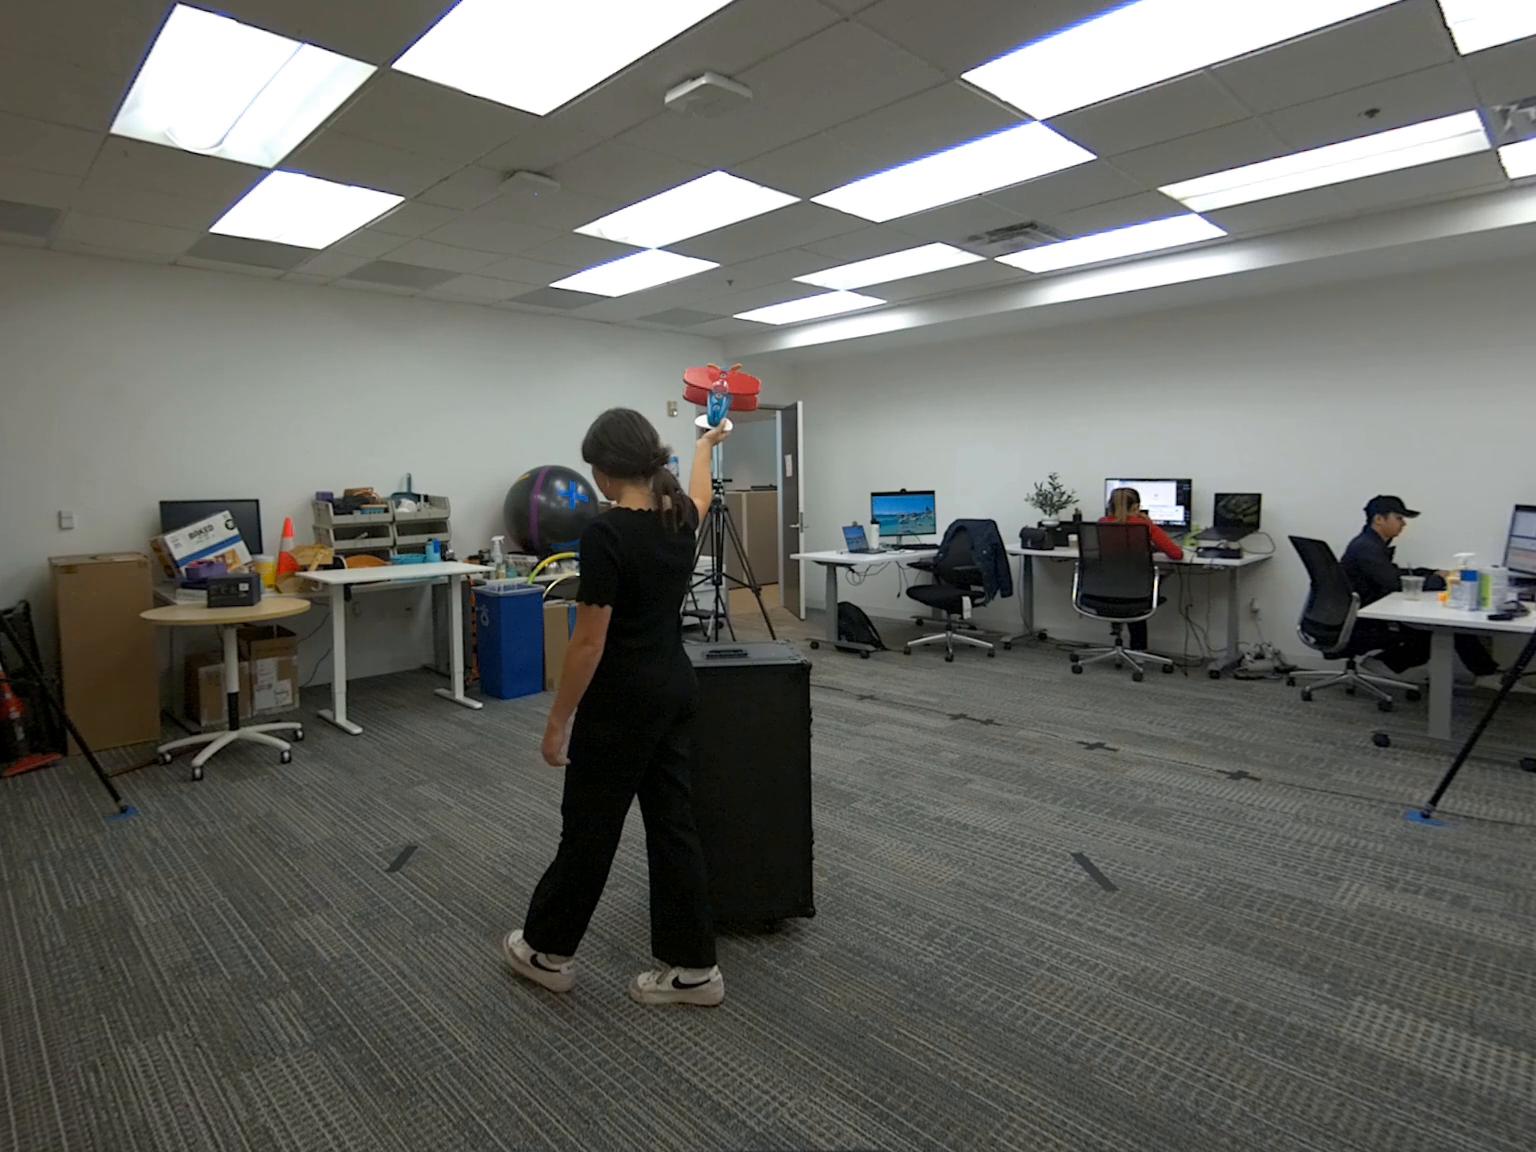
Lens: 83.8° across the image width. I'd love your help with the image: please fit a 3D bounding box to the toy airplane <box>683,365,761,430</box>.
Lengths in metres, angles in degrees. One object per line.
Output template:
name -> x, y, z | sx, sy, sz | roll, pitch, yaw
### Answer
toy airplane -> -0.145, -0.573, 2.824 | 0.247, 0.153, 0.269 | -10, 45, -20
